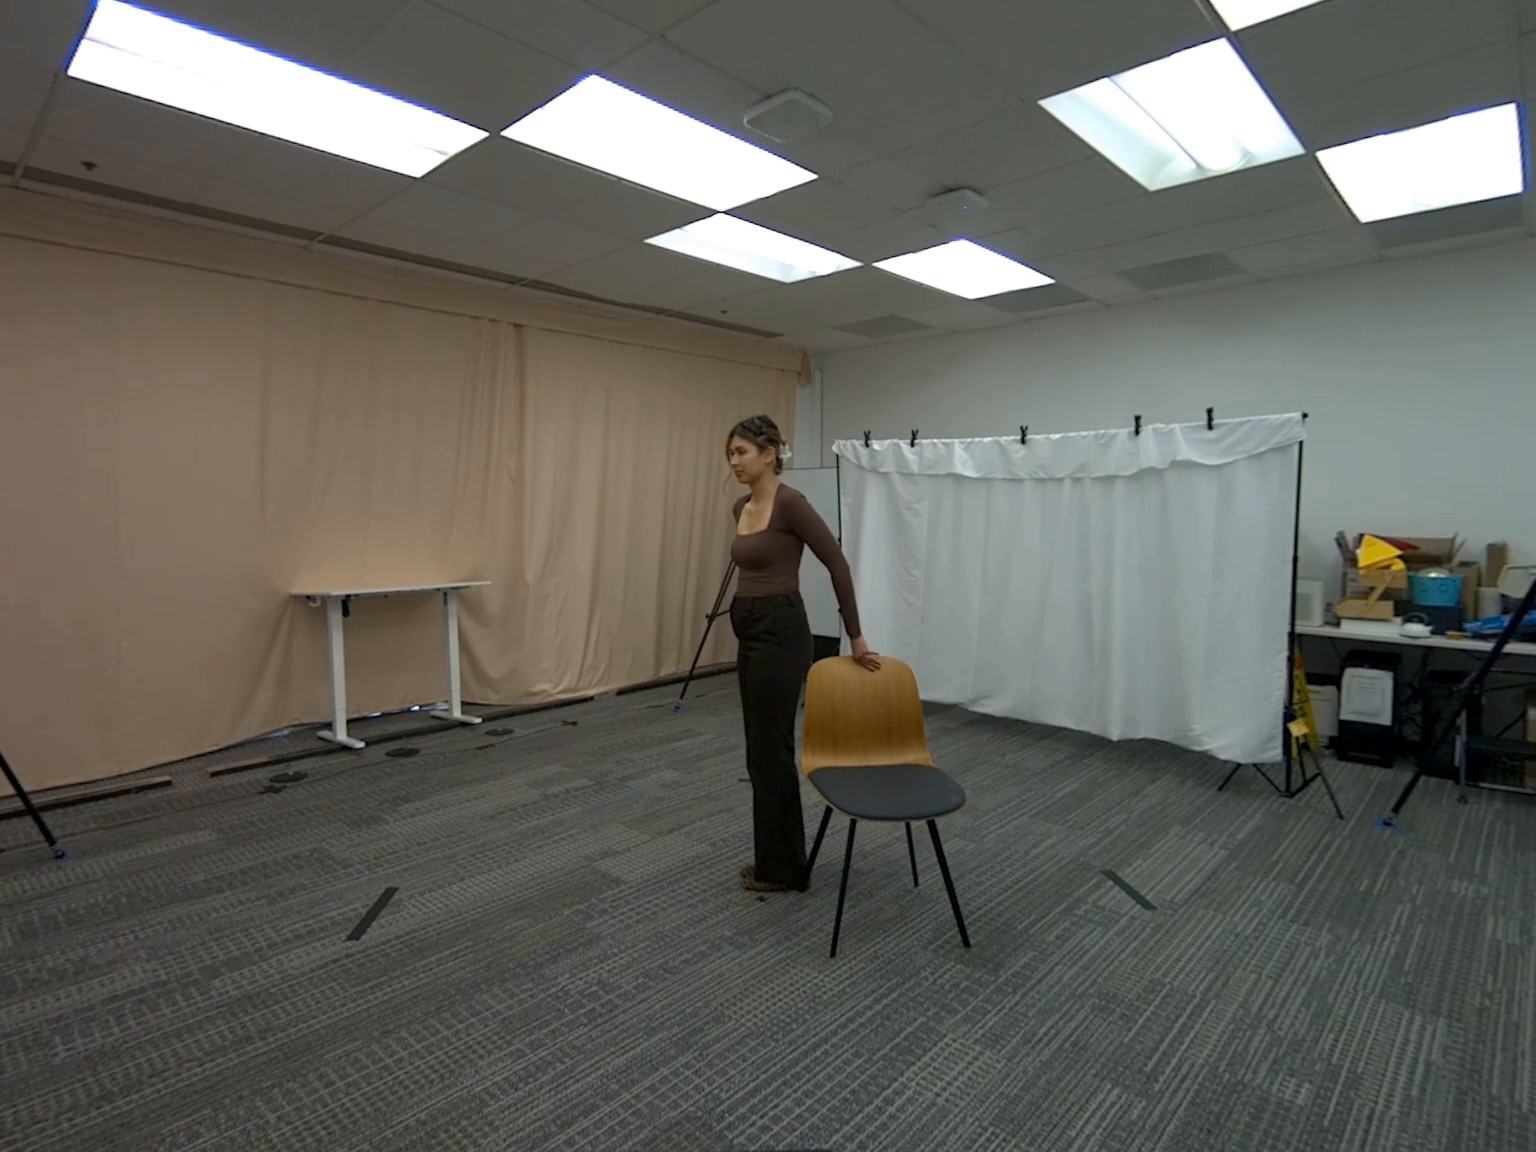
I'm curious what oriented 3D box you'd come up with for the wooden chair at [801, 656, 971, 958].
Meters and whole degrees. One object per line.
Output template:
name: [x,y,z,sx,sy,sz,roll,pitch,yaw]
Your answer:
wooden chair: [0.376,0.726,2.798,0.474,0.878,0.527,0,-1,-8]
